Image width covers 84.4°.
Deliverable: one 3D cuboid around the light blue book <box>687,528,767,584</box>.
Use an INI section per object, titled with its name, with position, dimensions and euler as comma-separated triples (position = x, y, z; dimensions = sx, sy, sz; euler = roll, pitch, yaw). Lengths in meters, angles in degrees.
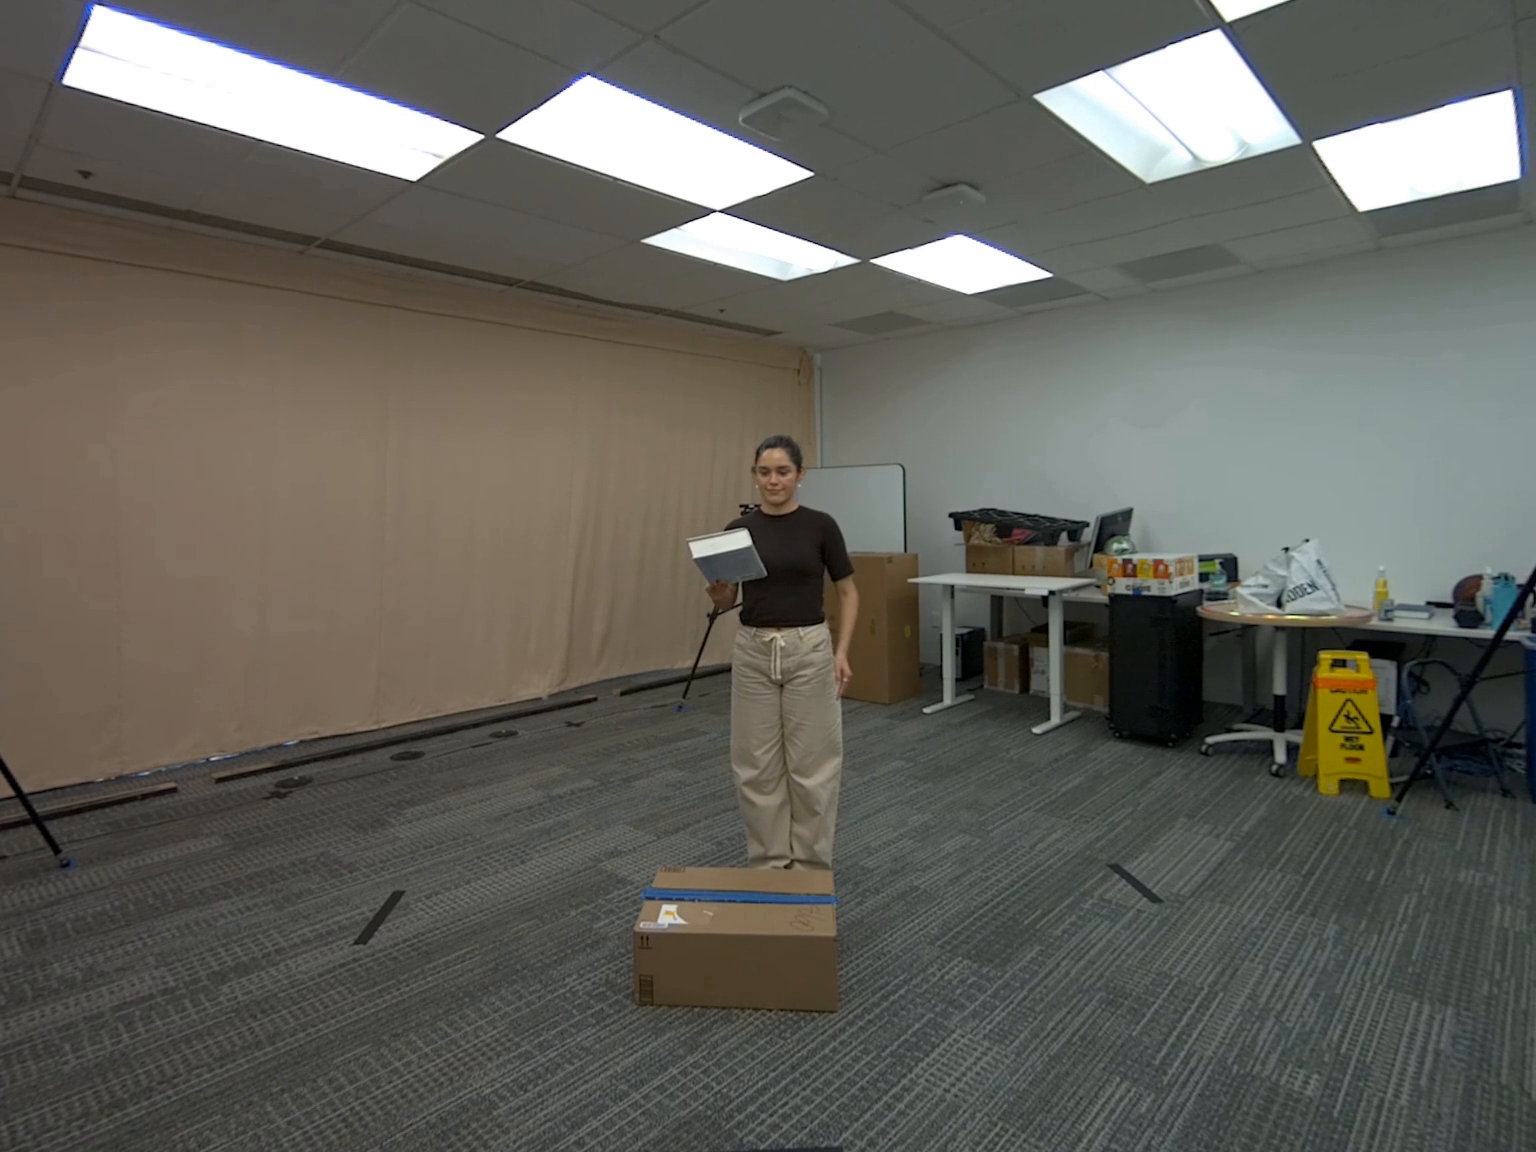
[light blue book]
position = -0.142, -0.049, 2.618
dimensions = 0.192, 0.060, 0.255
euler = -11, -23, 5
